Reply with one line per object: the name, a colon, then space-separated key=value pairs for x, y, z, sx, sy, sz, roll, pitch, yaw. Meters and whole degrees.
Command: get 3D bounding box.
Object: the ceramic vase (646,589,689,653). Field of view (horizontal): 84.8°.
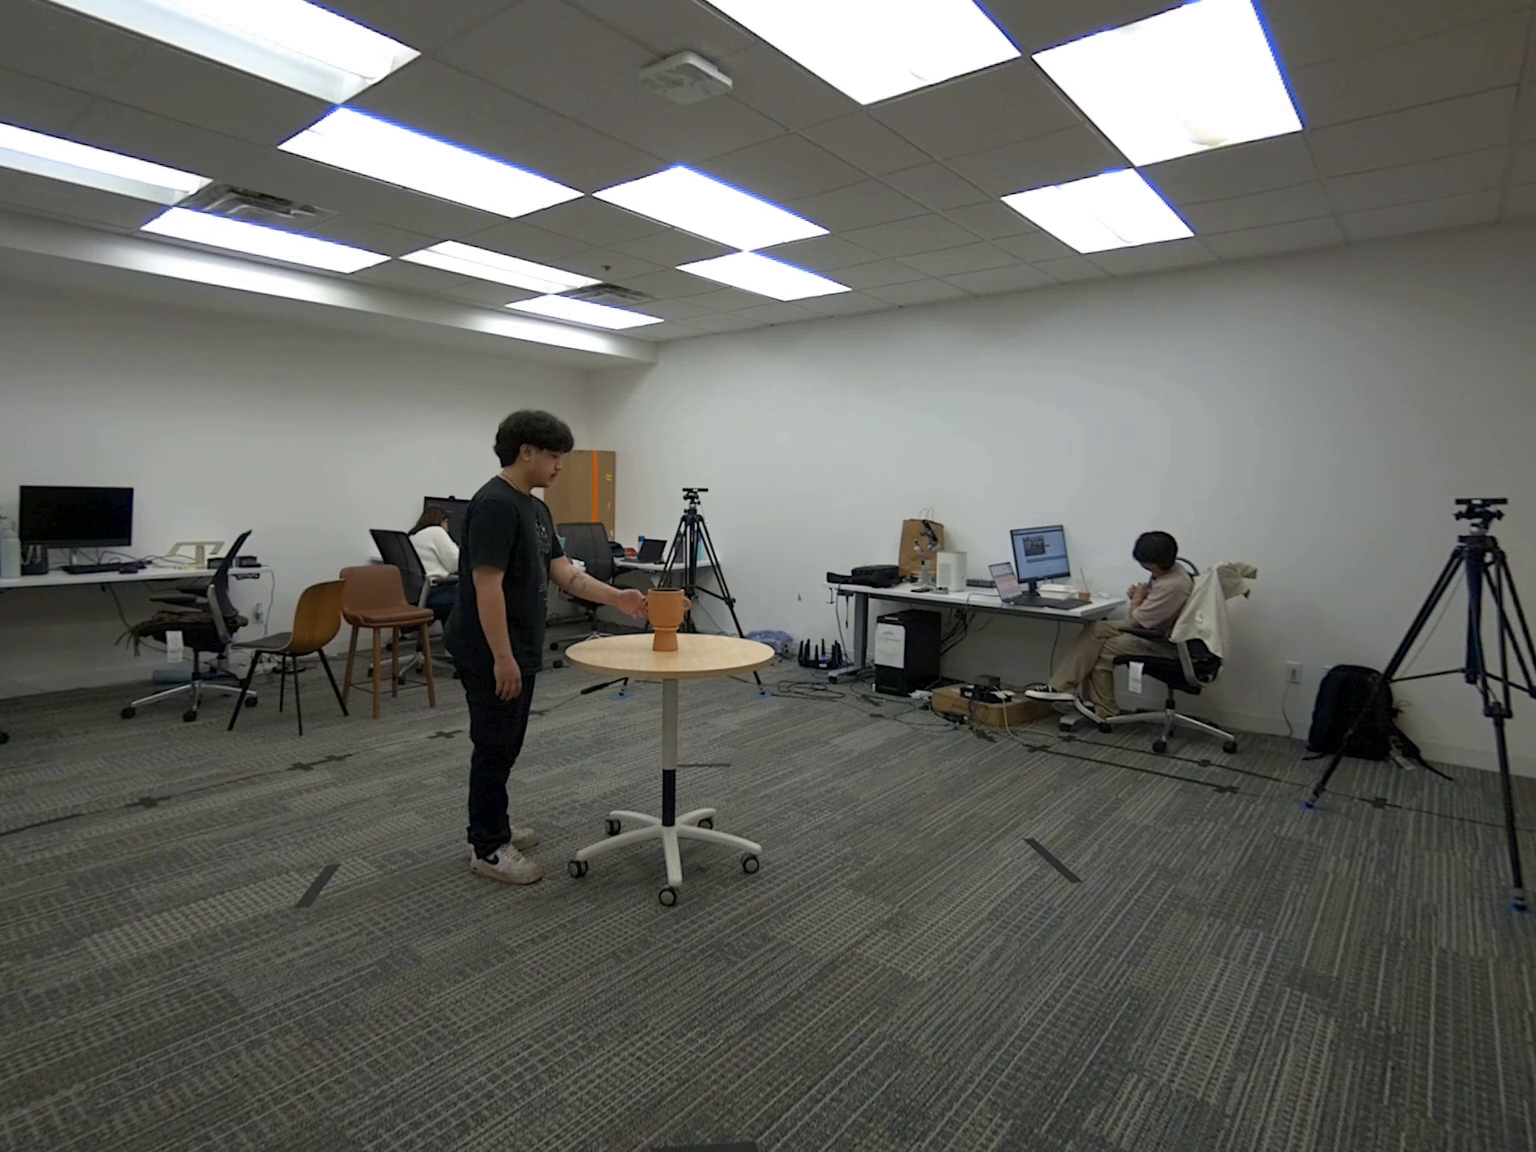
ceramic vase: x=-0.392 y=0.162 z=3.148 sx=0.131 sy=0.219 sz=0.164 roll=-2 pitch=4 yaw=-36
